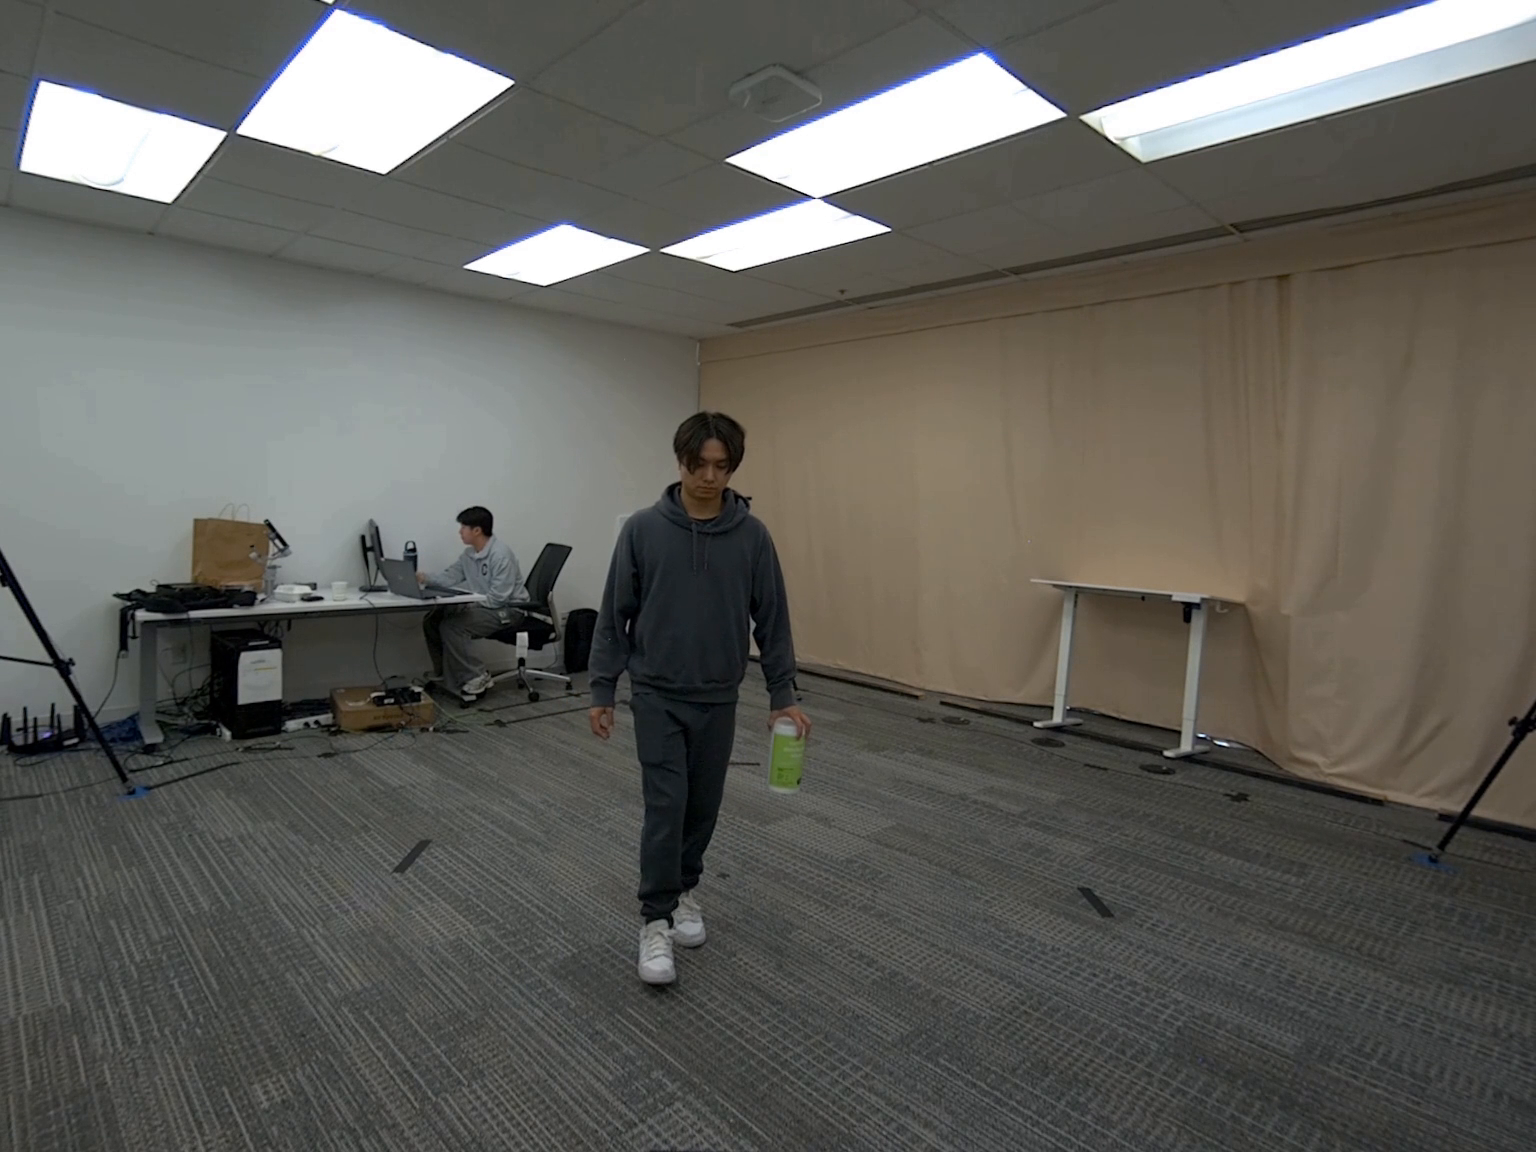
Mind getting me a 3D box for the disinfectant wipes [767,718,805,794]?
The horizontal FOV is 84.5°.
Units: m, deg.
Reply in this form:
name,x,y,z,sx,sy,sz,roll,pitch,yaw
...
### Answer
name,x,y,z,sx,sy,sz,roll,pitch,yaw
disinfectant wipes,0.036,0.566,2.622,0.117,0.216,0.118,6,7,-2
